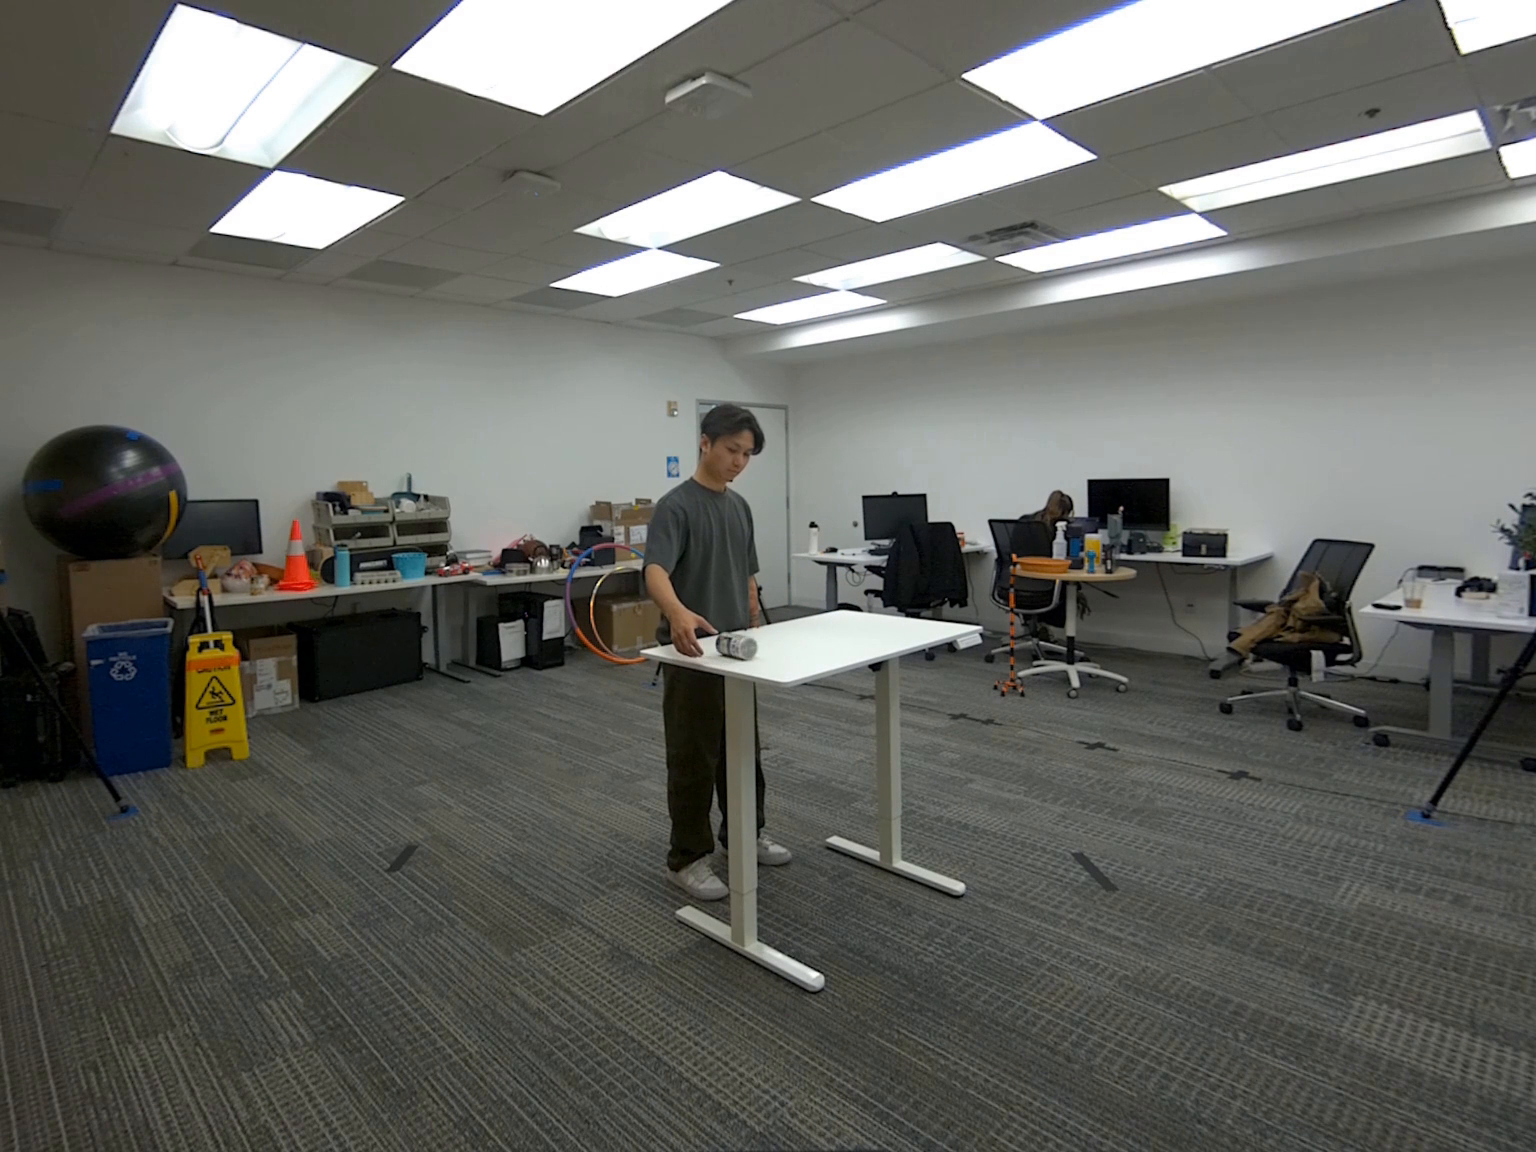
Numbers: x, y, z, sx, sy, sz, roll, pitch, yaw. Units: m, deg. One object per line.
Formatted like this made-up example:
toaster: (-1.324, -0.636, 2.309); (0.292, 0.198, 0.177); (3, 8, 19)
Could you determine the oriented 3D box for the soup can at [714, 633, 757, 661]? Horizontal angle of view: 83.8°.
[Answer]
soup can: (-0.091, 0.204, 2.488); (0.065, 0.067, 0.125); (-5, 7, -37)
